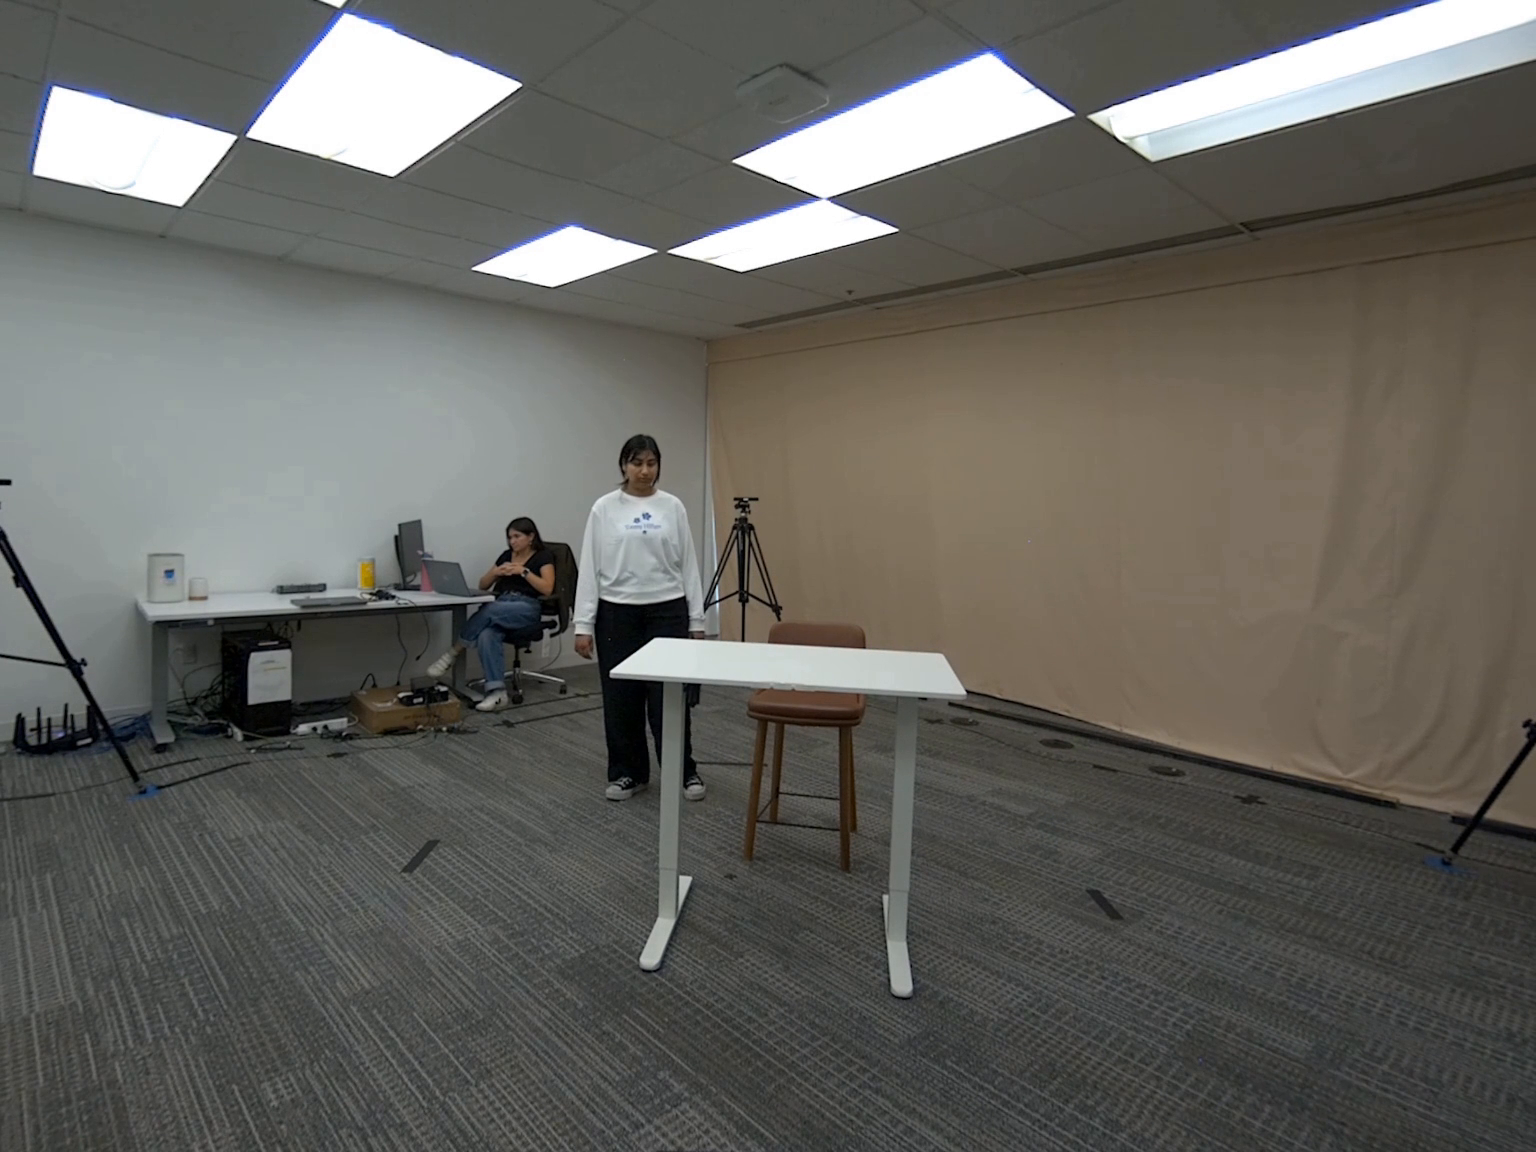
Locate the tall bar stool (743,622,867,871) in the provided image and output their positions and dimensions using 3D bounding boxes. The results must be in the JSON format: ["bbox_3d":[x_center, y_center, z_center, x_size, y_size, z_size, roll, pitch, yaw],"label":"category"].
[{"bbox_3d":[0.155,0.655,3.400,0.462,0.889,0.462,2,1,15],"label":"tall bar stool"}]
